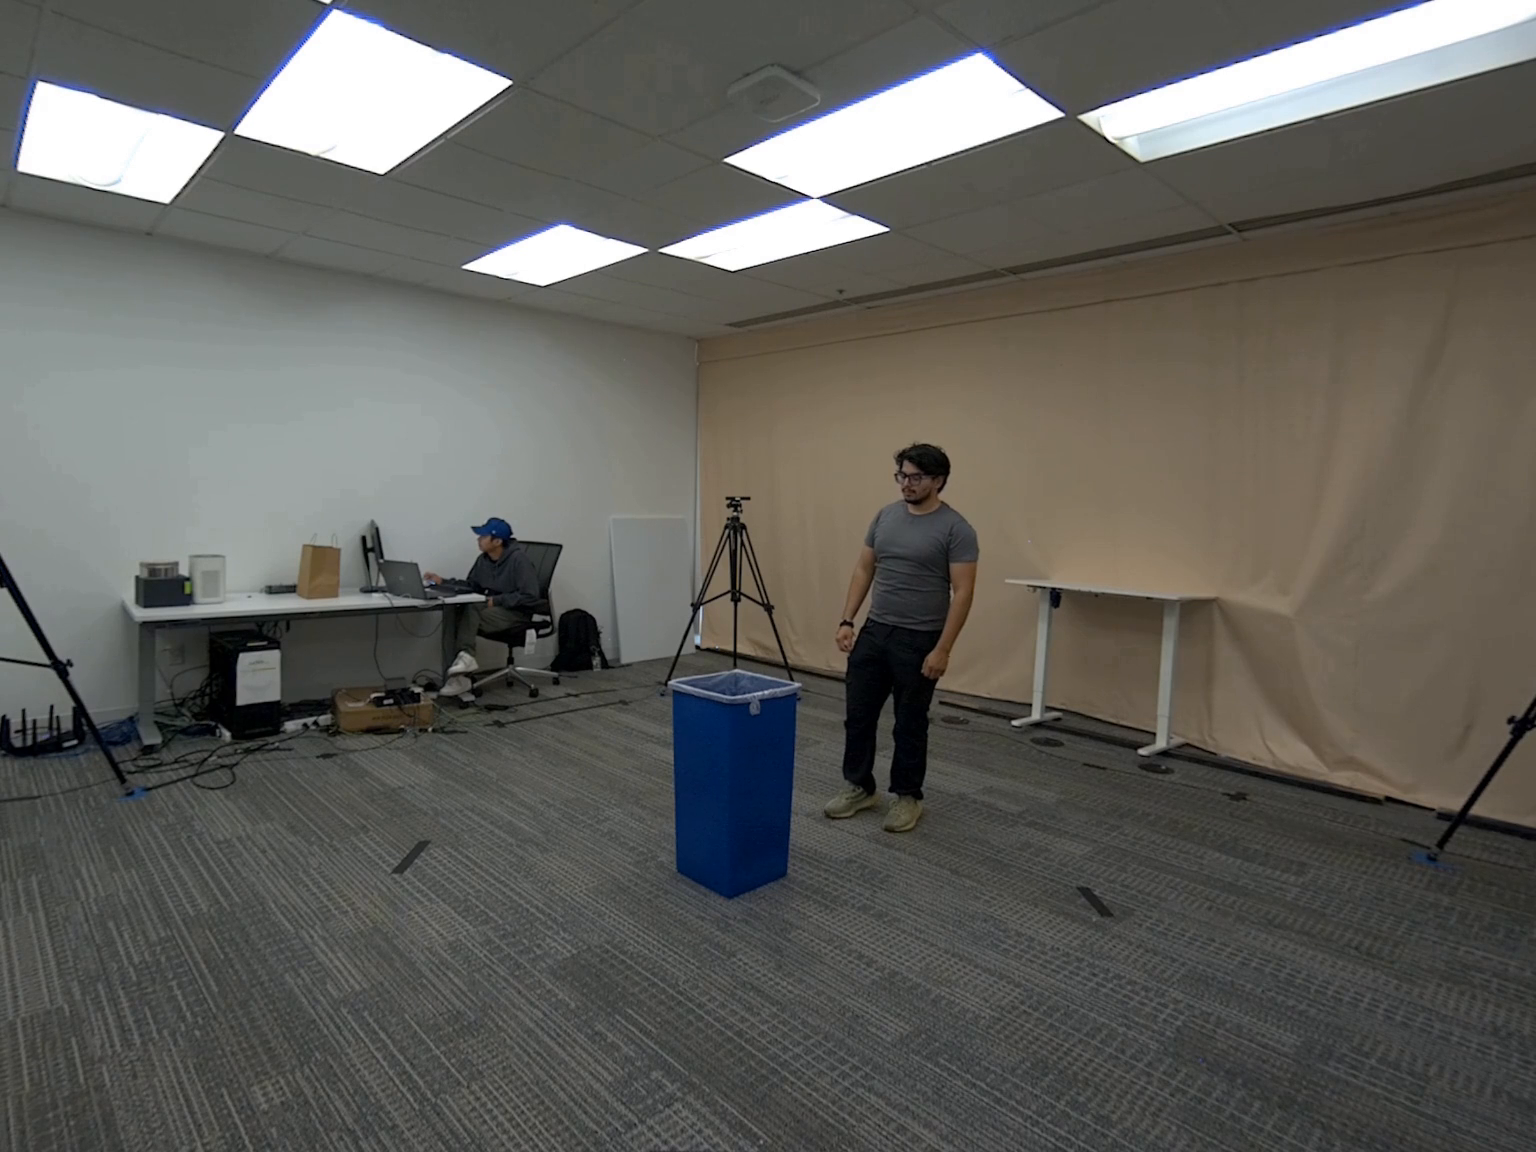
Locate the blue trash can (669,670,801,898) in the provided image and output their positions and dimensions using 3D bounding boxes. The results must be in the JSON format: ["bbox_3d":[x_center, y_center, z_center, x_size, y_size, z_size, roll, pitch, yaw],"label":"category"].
[{"bbox_3d":[-0.136,0.749,3.105,0.387,0.712,0.365,4,3,45],"label":"blue trash can"}]
